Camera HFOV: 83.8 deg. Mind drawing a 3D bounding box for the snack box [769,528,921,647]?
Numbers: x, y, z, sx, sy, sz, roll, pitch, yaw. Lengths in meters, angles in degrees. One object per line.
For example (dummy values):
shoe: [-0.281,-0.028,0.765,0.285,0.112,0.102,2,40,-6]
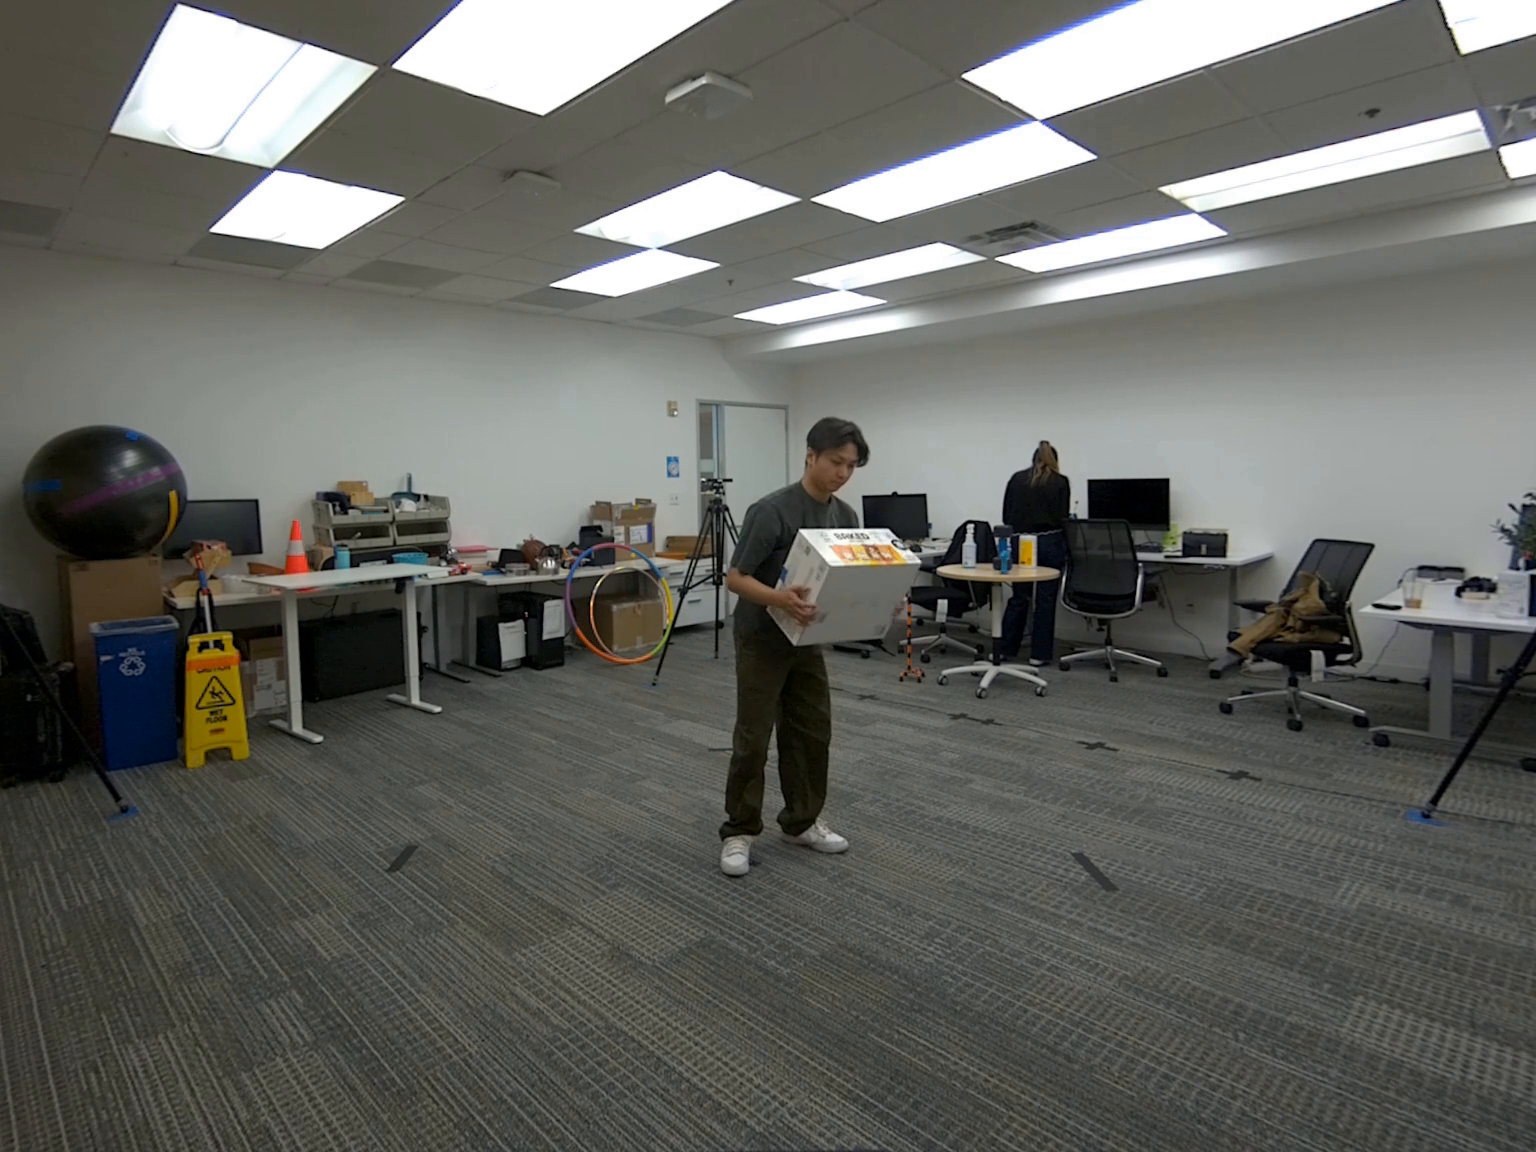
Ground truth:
snack box: [0.250,0.045,2.942,0.395,0.336,0.214,-2,36,-34]
